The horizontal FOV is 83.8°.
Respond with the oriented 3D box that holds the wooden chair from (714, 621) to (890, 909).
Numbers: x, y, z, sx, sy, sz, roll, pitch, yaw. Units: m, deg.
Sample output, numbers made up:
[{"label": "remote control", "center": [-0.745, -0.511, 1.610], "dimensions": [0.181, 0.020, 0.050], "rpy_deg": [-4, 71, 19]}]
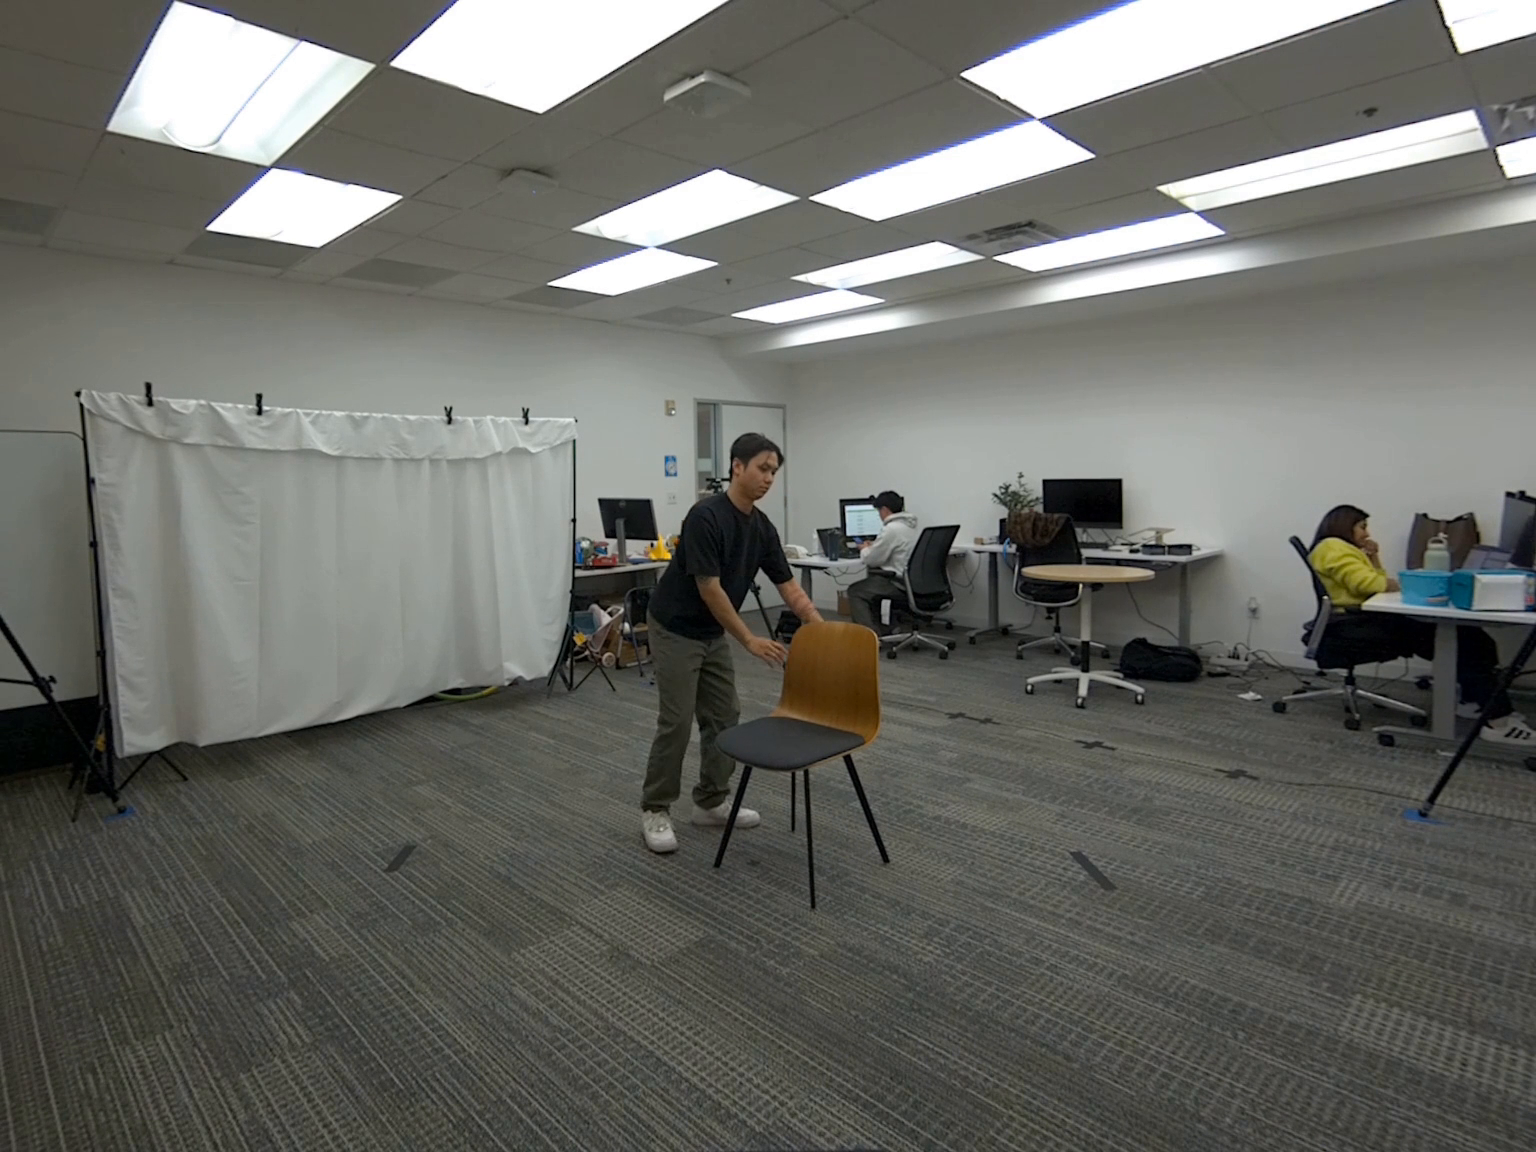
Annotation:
[{"label": "wooden chair", "center": [0.118, 0.618, 3.031], "dimensions": [0.493, 0.876, 0.508], "rpy_deg": [4, 2, 42]}]
